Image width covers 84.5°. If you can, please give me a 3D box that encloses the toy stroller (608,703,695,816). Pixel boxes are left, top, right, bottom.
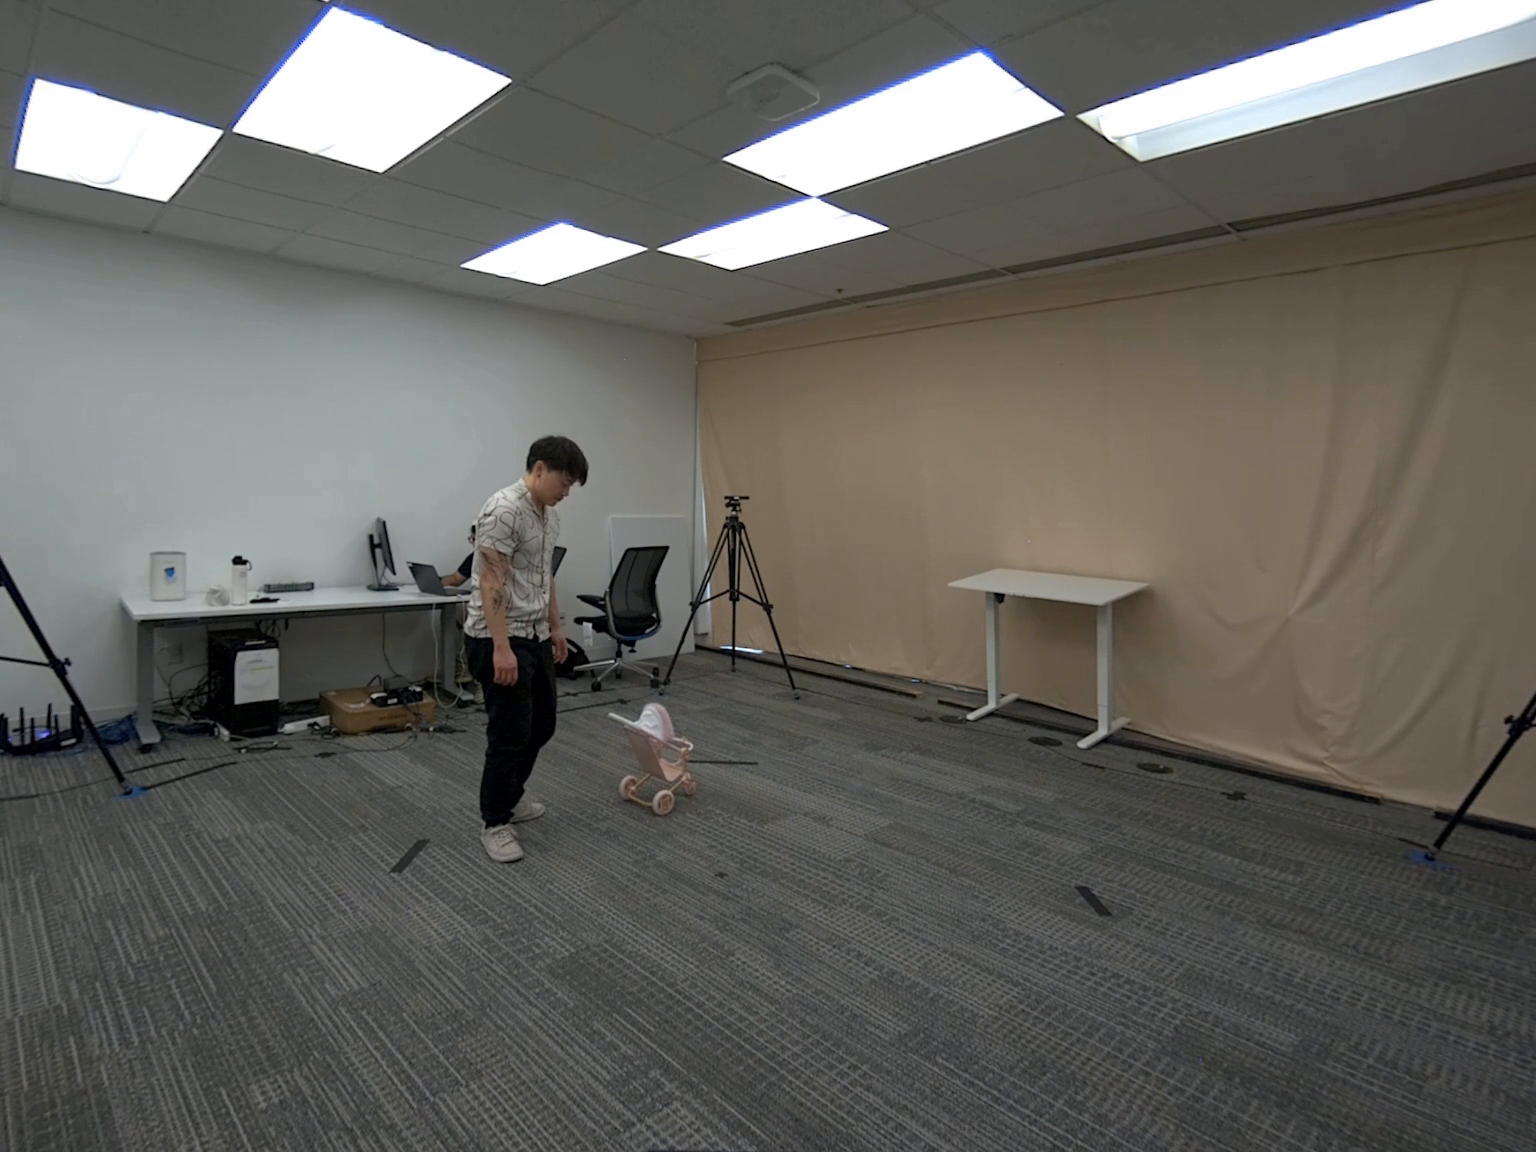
[{"bbox_3d":[-0.505,0.809,3.803,0.336,0.529,0.289,-21,18,-37],"label":"toy stroller"}]
